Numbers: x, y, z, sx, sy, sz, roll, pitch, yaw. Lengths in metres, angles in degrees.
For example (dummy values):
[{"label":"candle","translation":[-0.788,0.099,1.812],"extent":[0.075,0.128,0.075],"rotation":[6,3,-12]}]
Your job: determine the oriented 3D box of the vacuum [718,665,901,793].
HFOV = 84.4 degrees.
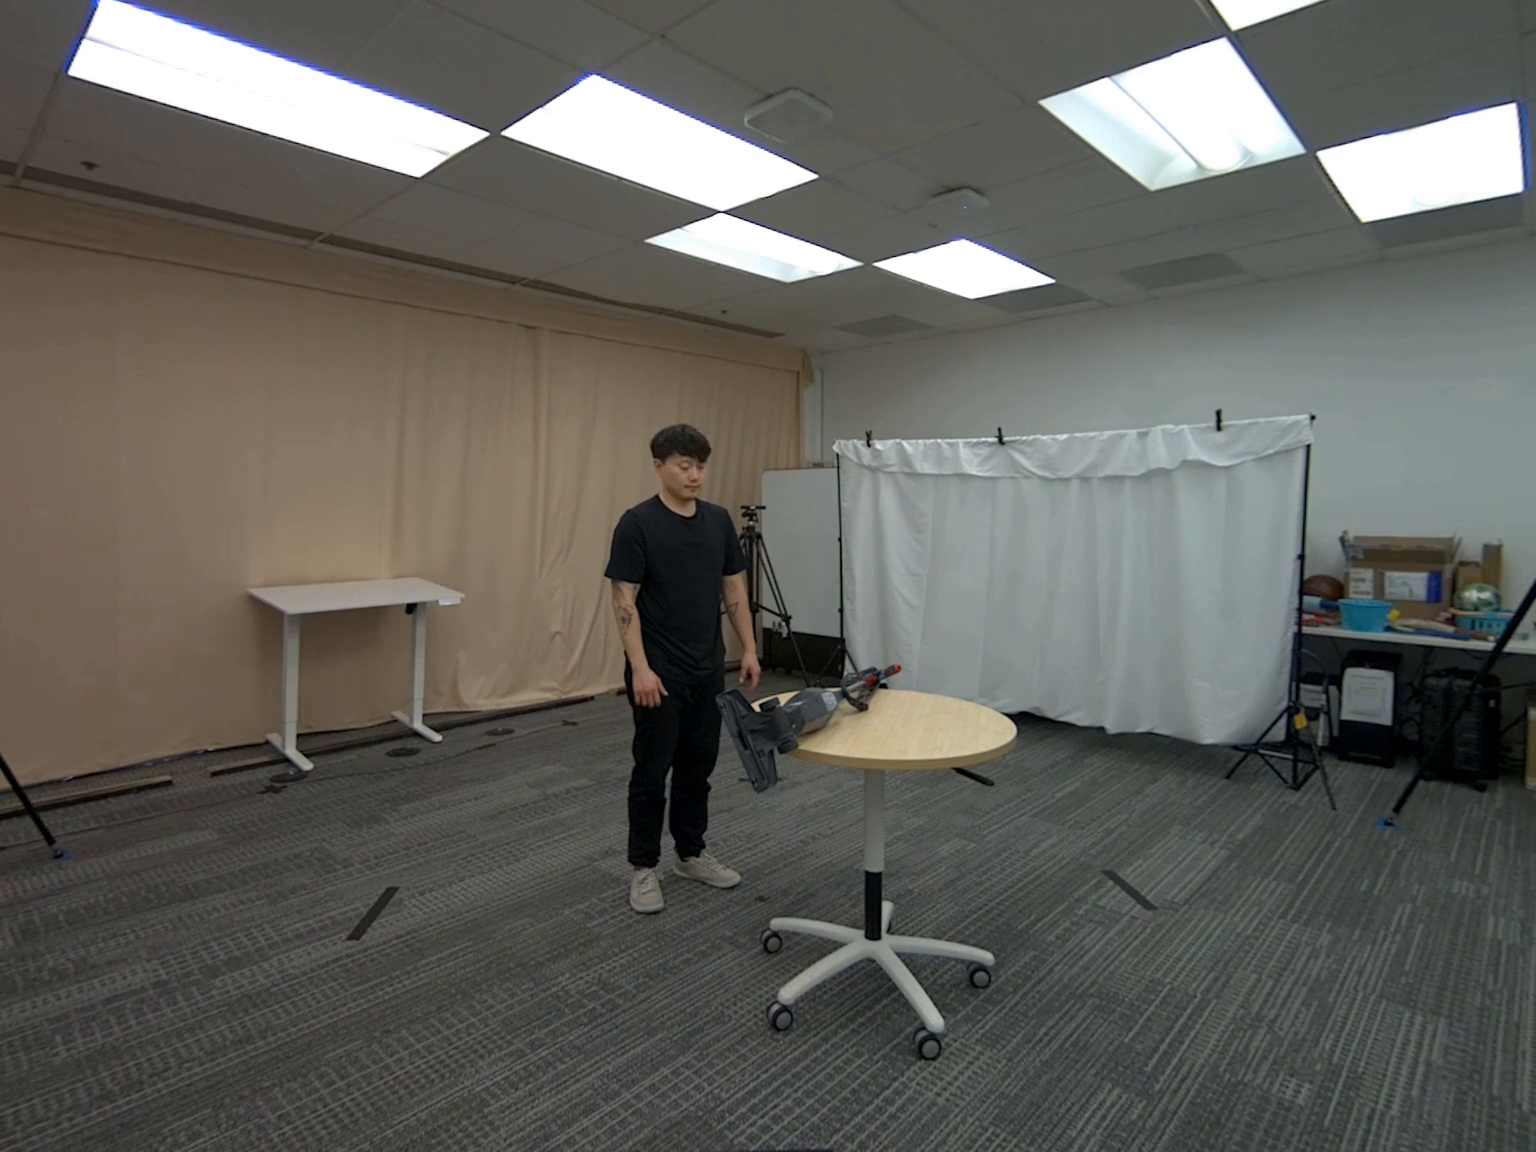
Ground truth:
[{"label":"vacuum","translation":[0.216,0.370,2.495],"extent":[0.146,0.256,1.022],"rotation":[-32,-12,26]}]
